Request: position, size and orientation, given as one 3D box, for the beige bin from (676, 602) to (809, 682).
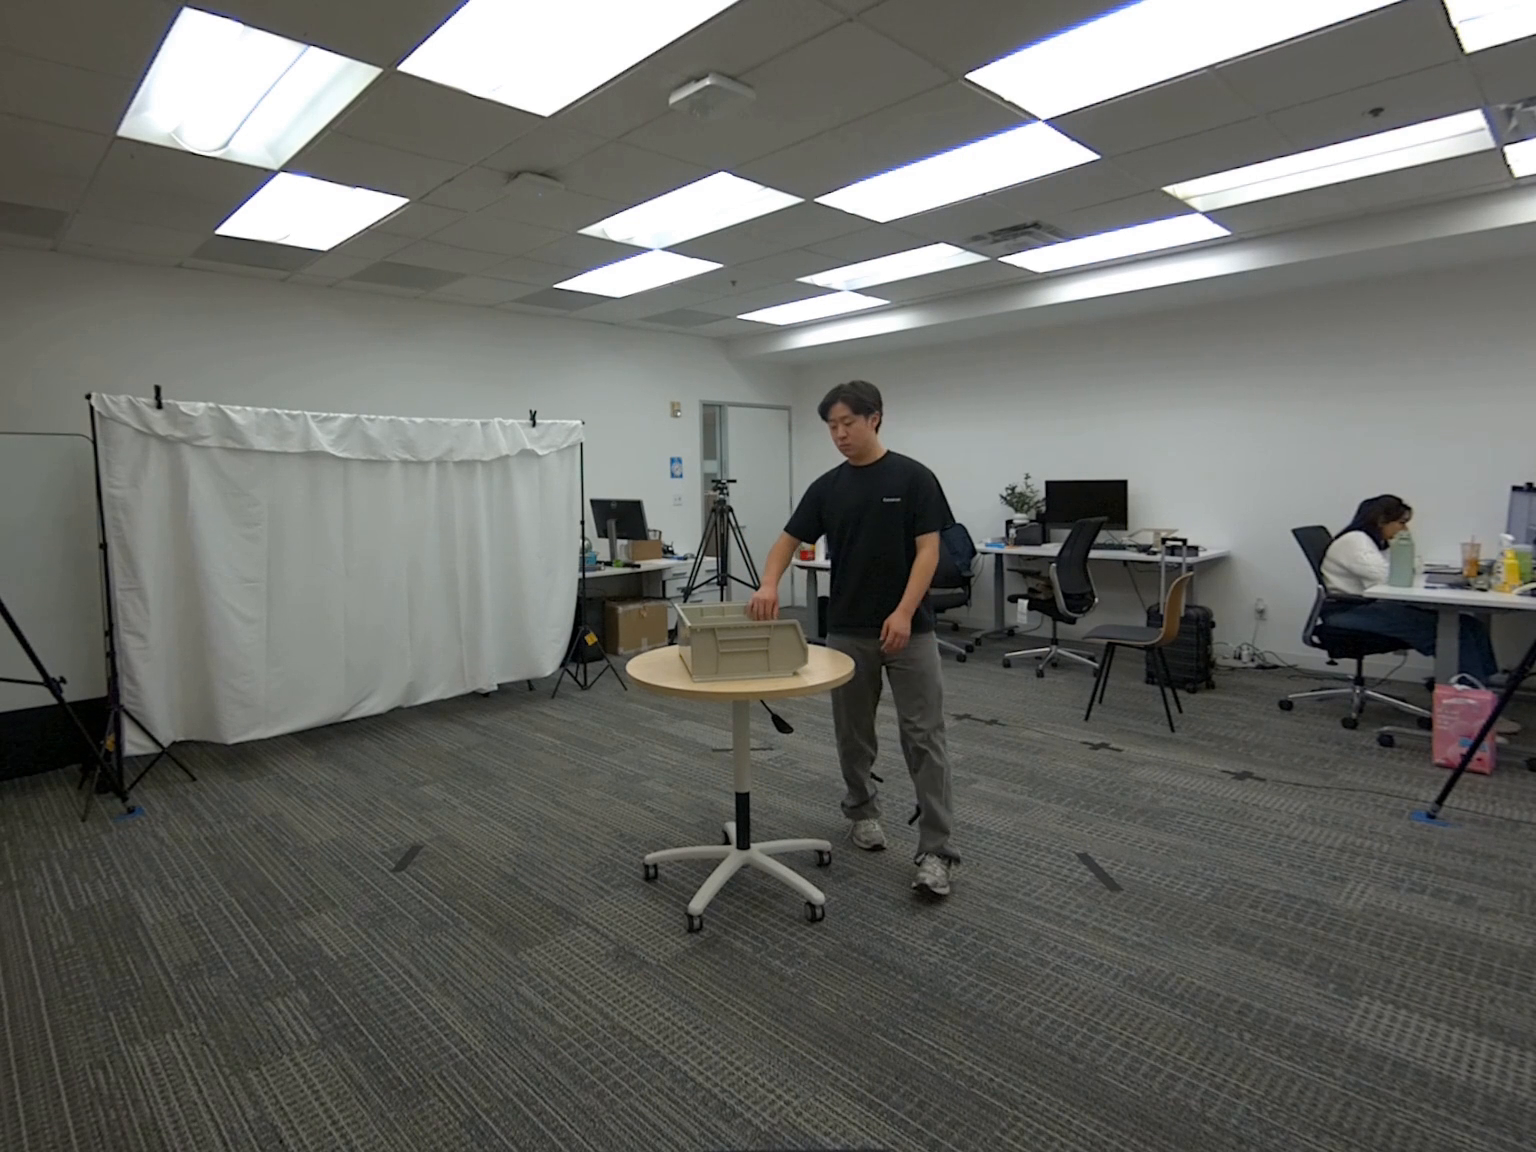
[{"bbox_3d":[-0.098,0.206,2.840,0.373,0.188,0.429,-3,7,-11],"label":"beige bin"}]
